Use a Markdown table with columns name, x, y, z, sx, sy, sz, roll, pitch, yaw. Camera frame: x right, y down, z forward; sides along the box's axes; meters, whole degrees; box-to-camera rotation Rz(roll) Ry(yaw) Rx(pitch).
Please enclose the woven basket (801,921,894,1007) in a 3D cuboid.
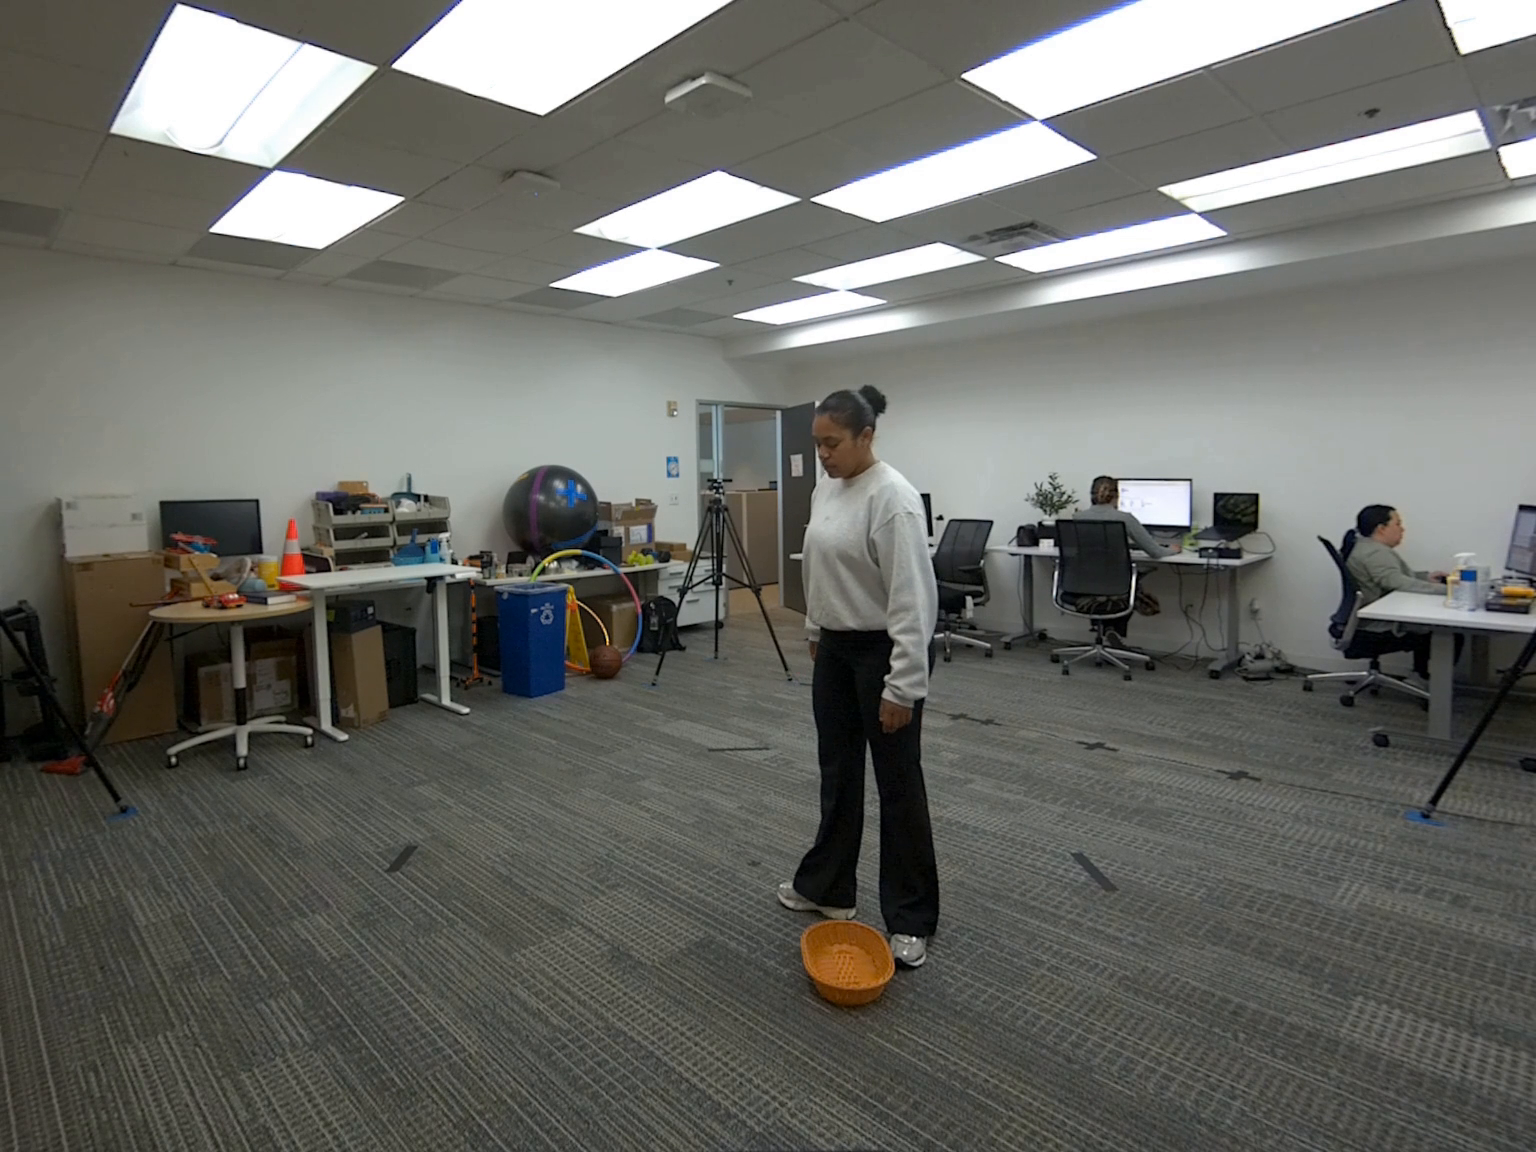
| name | x | y | z | sx | sy | sz | roll | pitch | yaw |
| --- | --- | --- | --- | --- | --- | --- | --- | --- | --- |
| woven basket | 0.226 | 1.090 | 2.397 | 0.253 | 0.073 | 0.351 | -1 | 6 | 2 |
